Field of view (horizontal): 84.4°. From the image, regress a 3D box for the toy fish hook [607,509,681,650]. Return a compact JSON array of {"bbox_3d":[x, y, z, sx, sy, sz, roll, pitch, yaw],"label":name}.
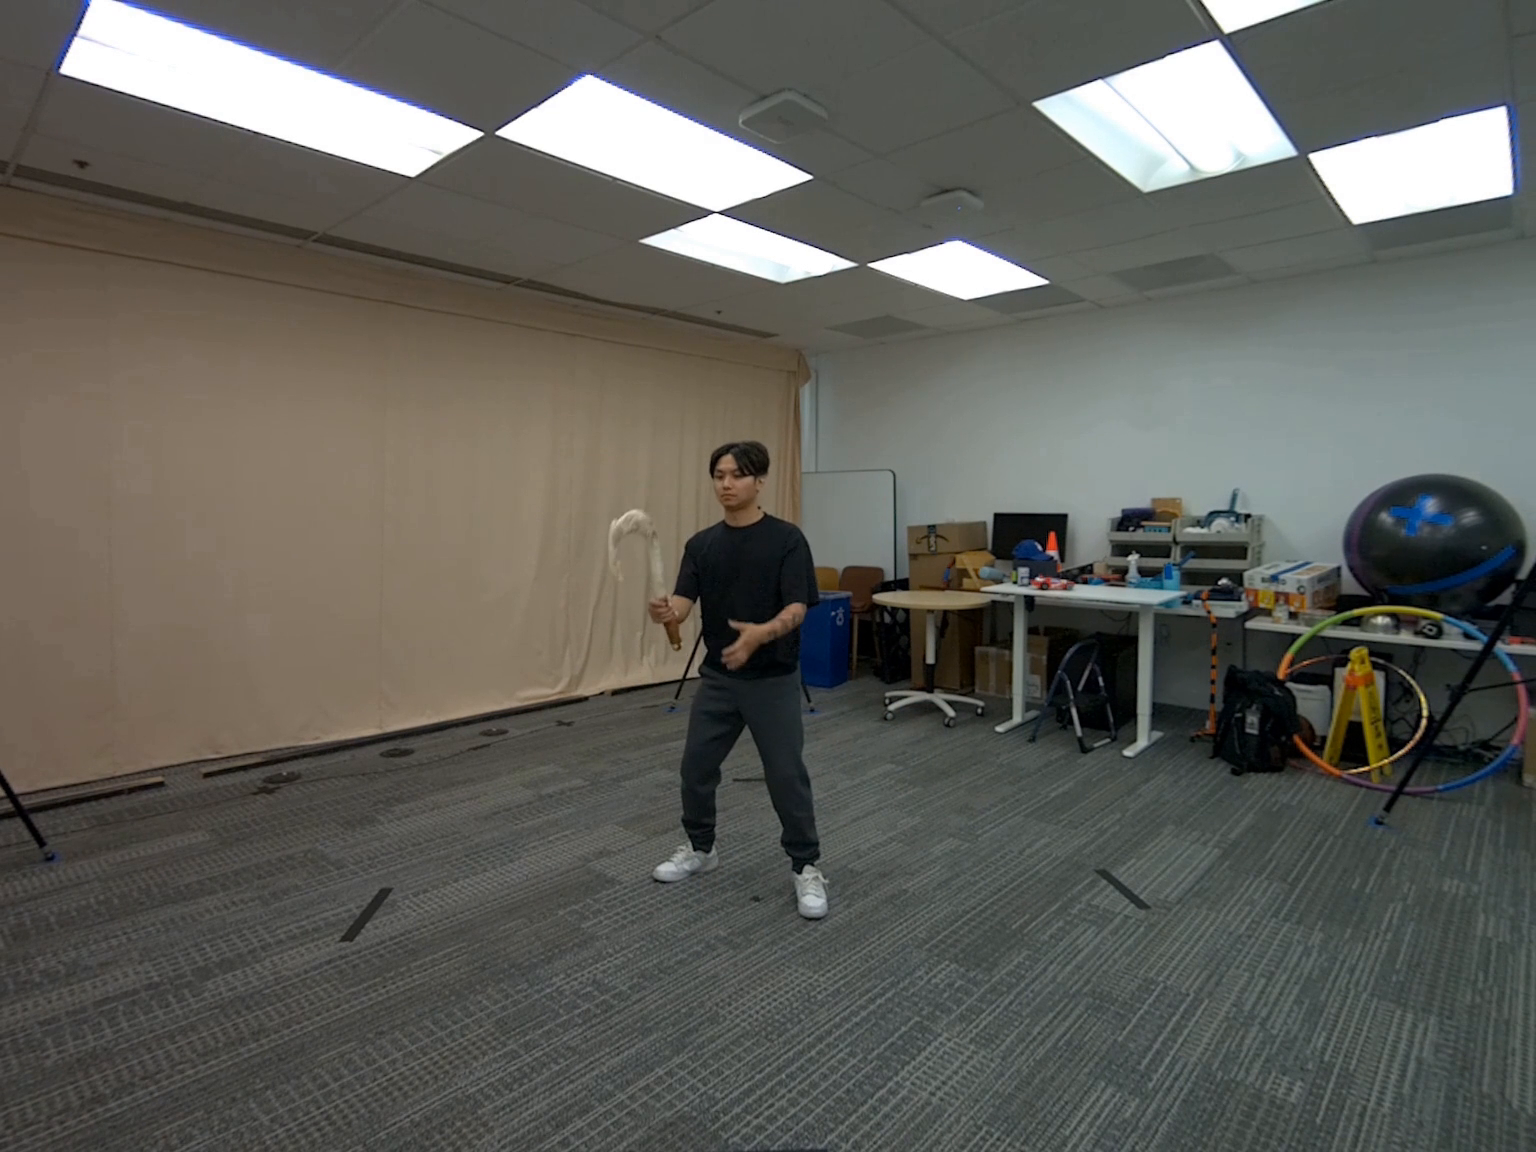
[{"bbox_3d":[-0.389,0.062,2.706,0.050,0.498,0.221,4,27,43],"label":"toy fish hook"}]
